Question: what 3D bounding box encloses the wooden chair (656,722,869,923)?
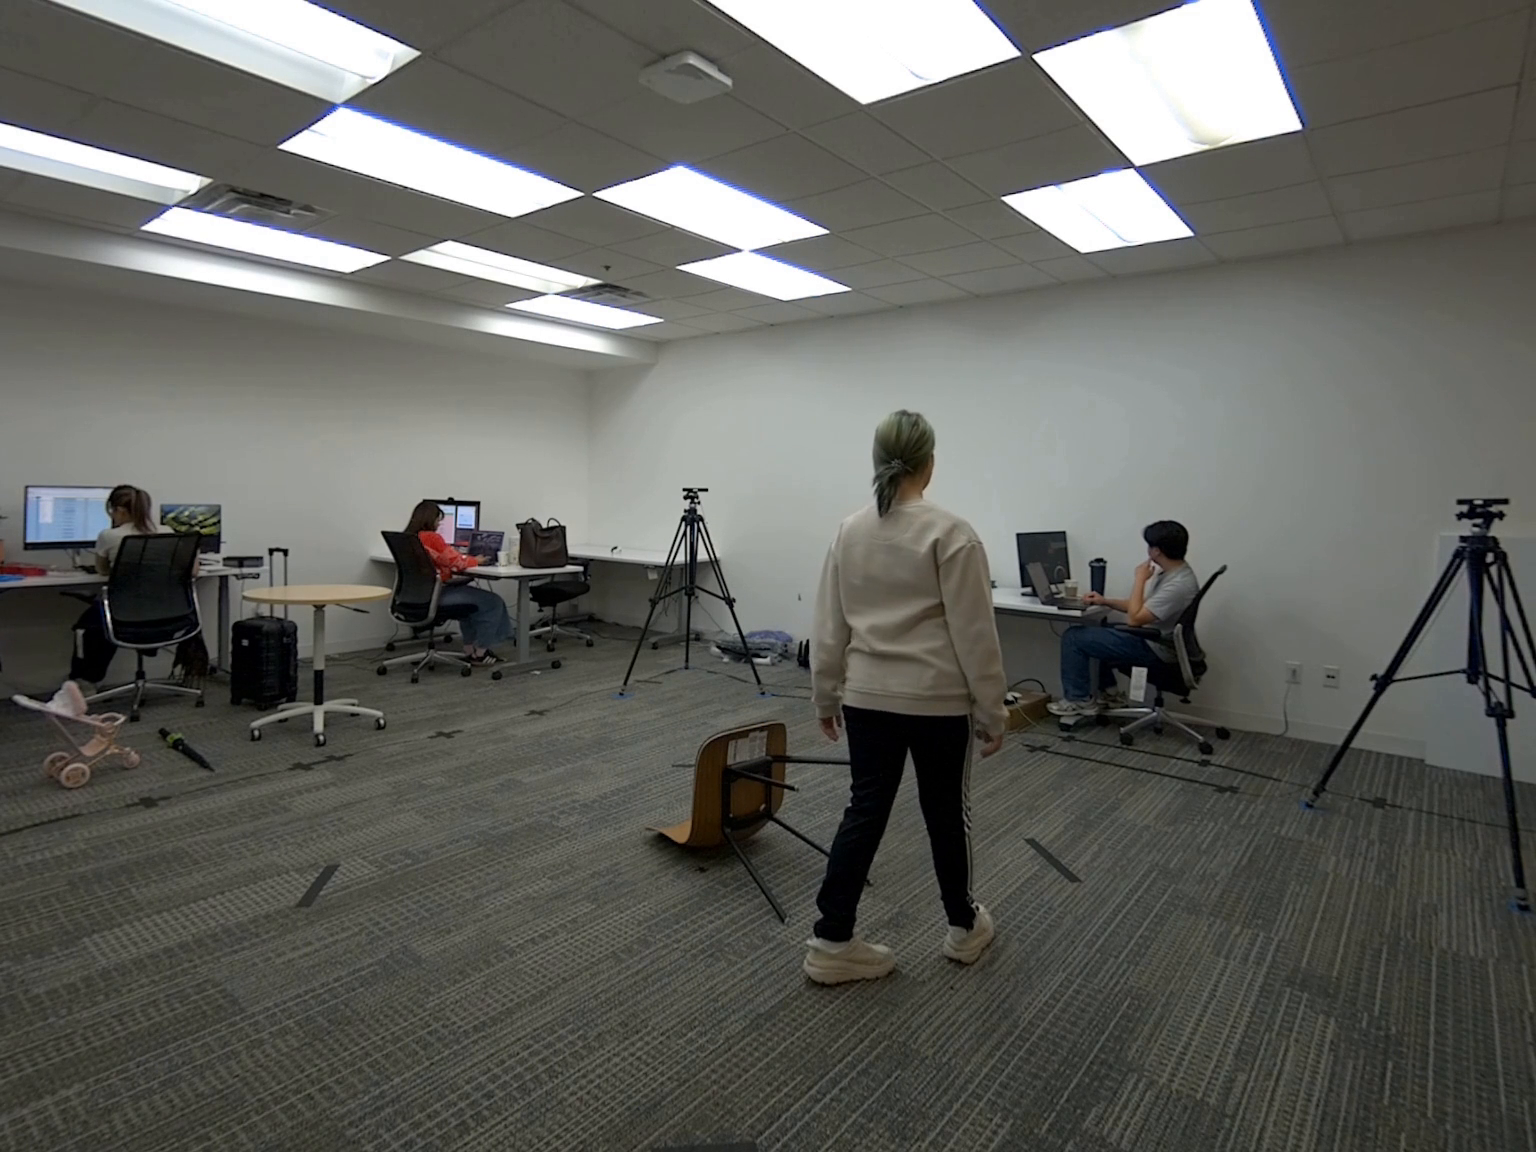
[{"bbox_3d":[-0.078,0.810,3.163,0.463,0.522,0.907,-2,4,-43],"label":"wooden chair"}]
